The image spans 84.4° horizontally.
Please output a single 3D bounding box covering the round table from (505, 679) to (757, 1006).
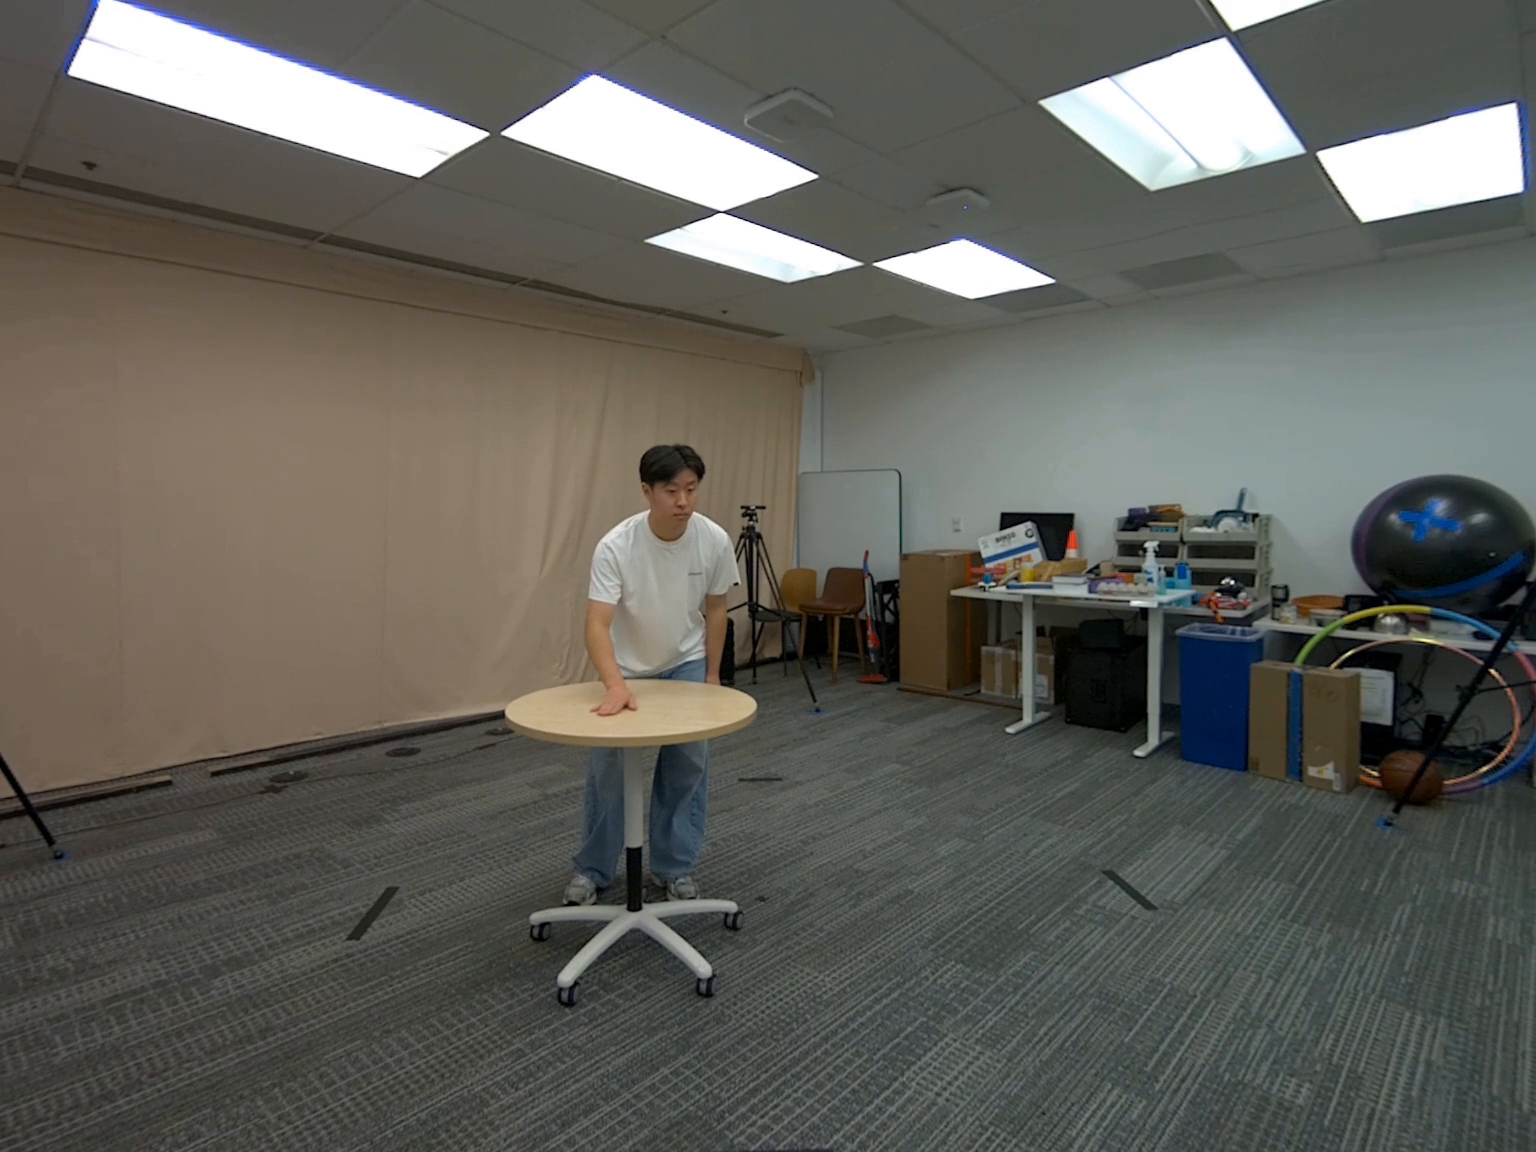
[{"bbox_3d":[-0.404,0.786,2.609,0.763,0.792,0.766,0,4,-2],"label":"round table"}]
